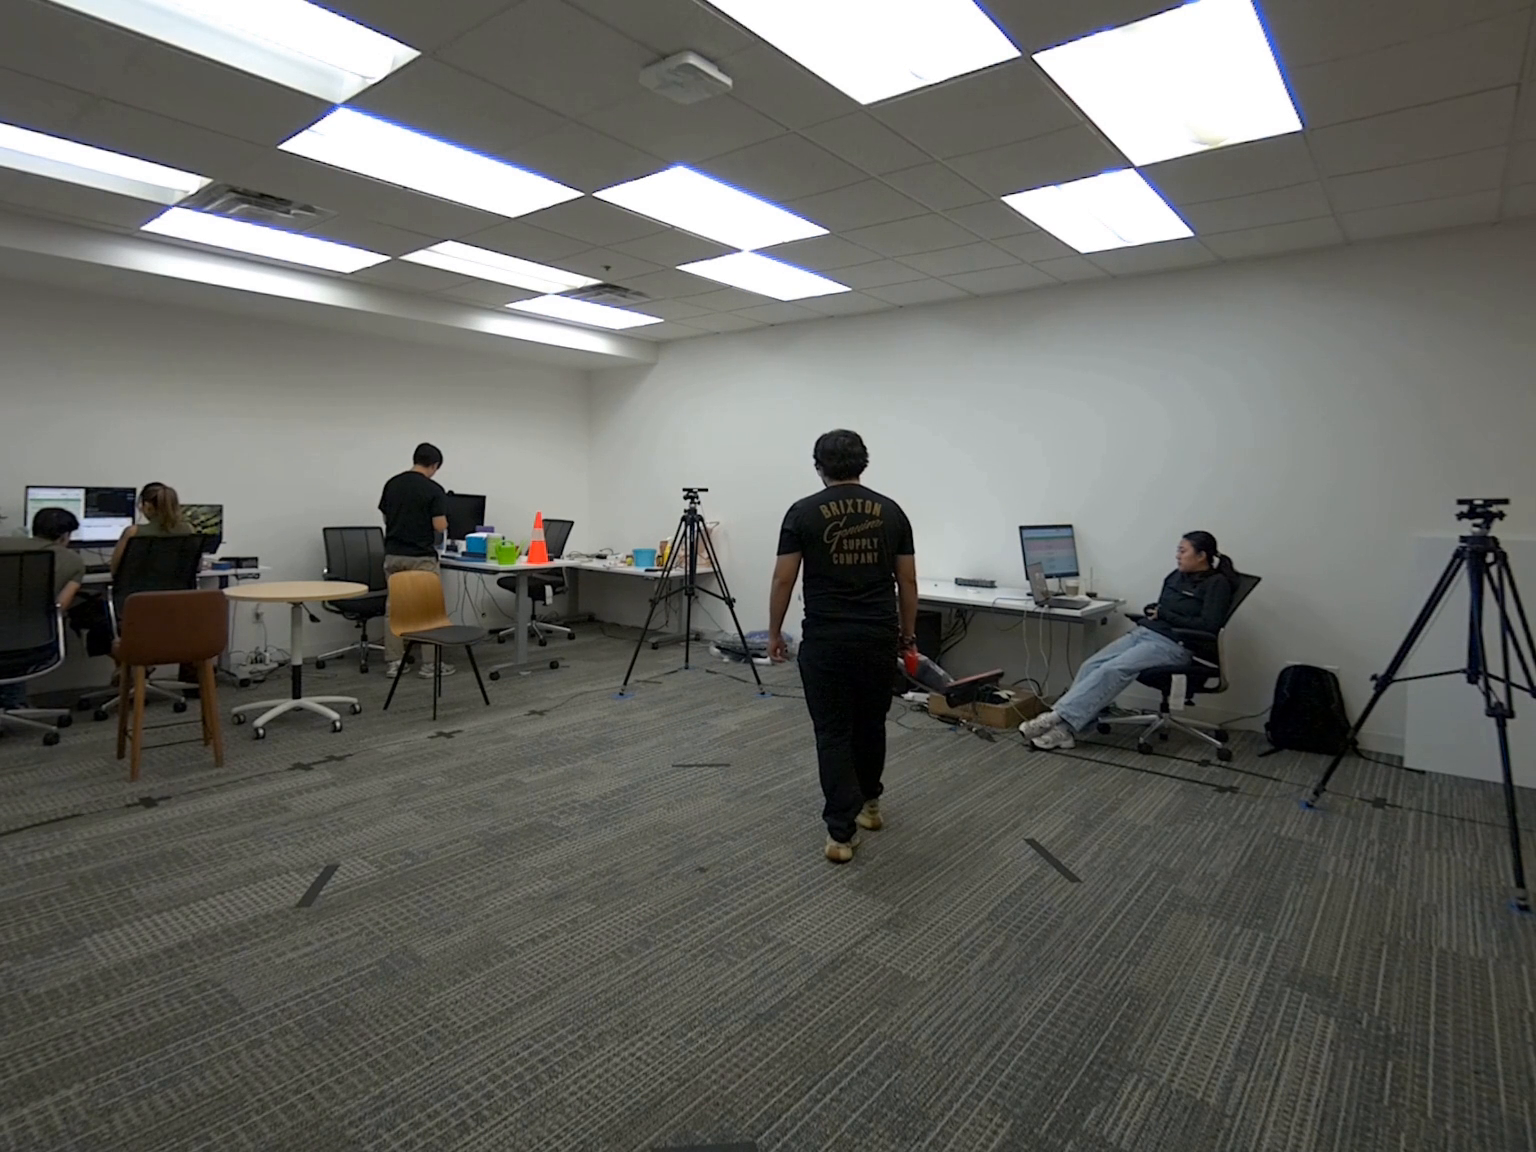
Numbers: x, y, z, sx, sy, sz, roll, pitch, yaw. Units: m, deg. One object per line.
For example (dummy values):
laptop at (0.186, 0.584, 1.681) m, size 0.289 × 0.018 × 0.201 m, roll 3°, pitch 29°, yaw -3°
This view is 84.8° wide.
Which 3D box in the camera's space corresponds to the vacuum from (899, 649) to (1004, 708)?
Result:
vacuum at (0.520, 0.345, 3.585) m, size 0.249 × 0.142 × 1.079 m, roll -16°, pitch 15°, yaw -21°
